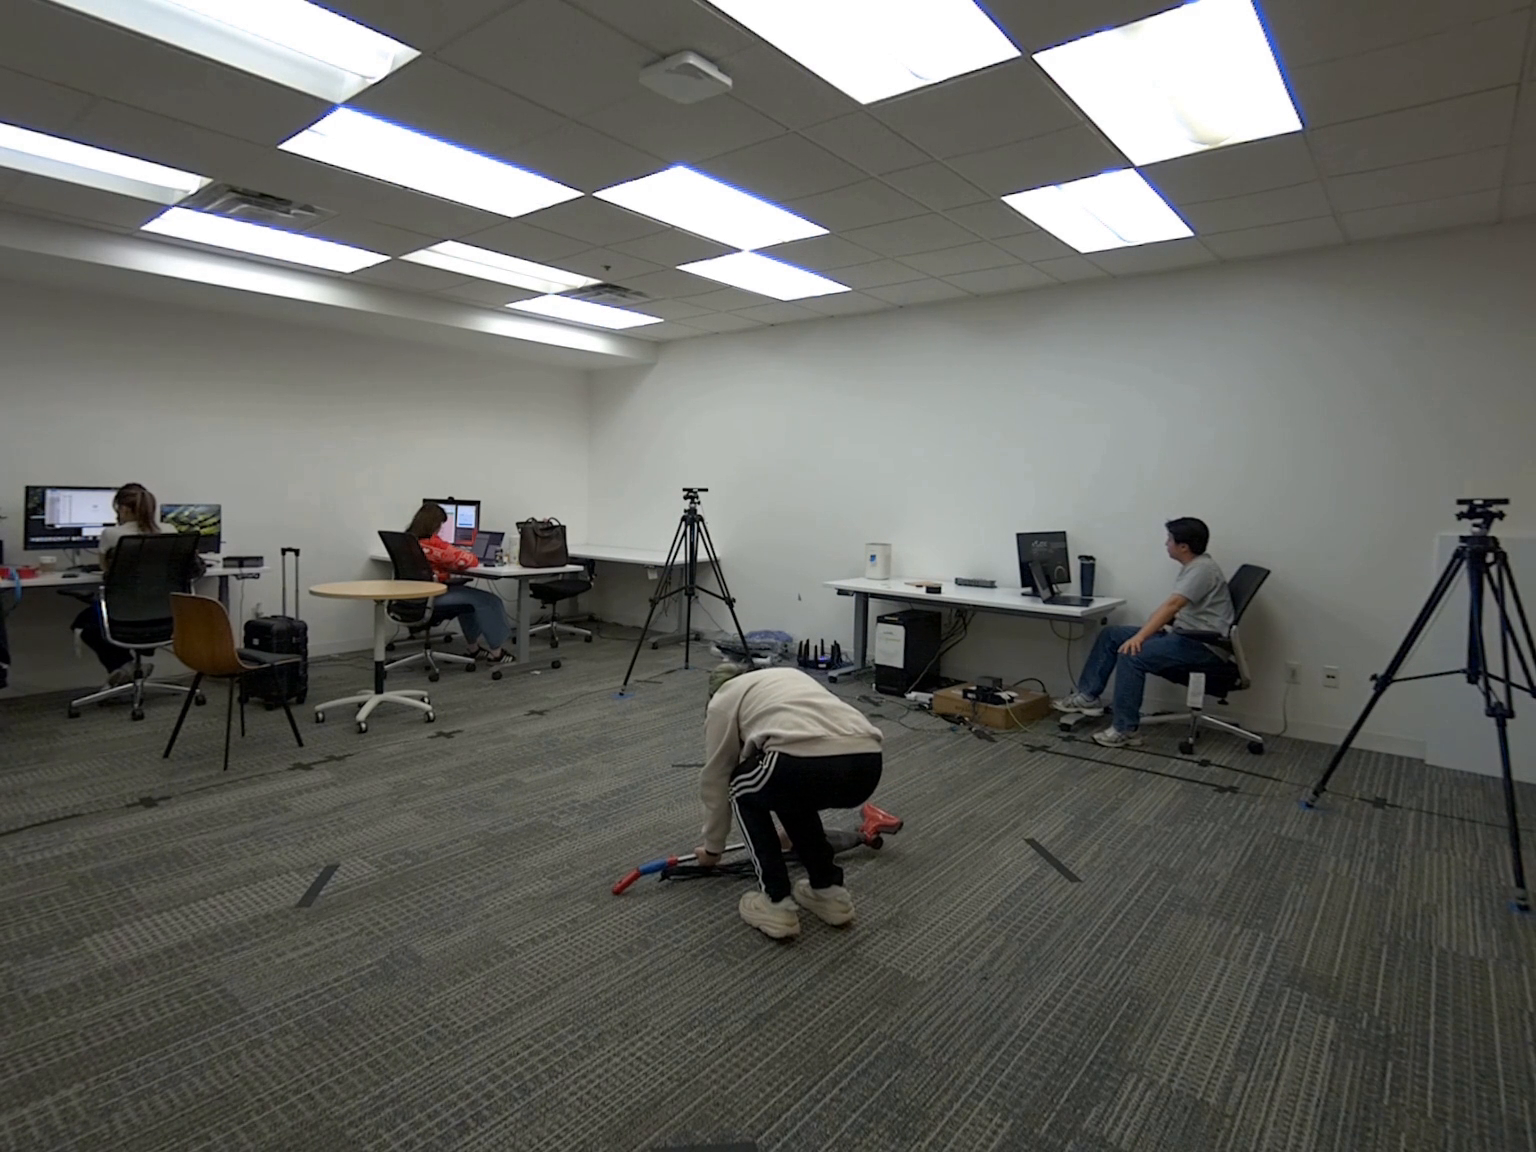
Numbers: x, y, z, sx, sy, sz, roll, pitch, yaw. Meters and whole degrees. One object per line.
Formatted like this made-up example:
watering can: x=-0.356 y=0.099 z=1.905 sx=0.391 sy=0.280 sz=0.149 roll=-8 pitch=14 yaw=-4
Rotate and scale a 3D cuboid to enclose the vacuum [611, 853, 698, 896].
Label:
vacuum: x=-0.055 y=1.002 z=3.097 sx=1.026 sy=0.144 sz=0.258 roll=-5 pitch=2 yaw=-25
